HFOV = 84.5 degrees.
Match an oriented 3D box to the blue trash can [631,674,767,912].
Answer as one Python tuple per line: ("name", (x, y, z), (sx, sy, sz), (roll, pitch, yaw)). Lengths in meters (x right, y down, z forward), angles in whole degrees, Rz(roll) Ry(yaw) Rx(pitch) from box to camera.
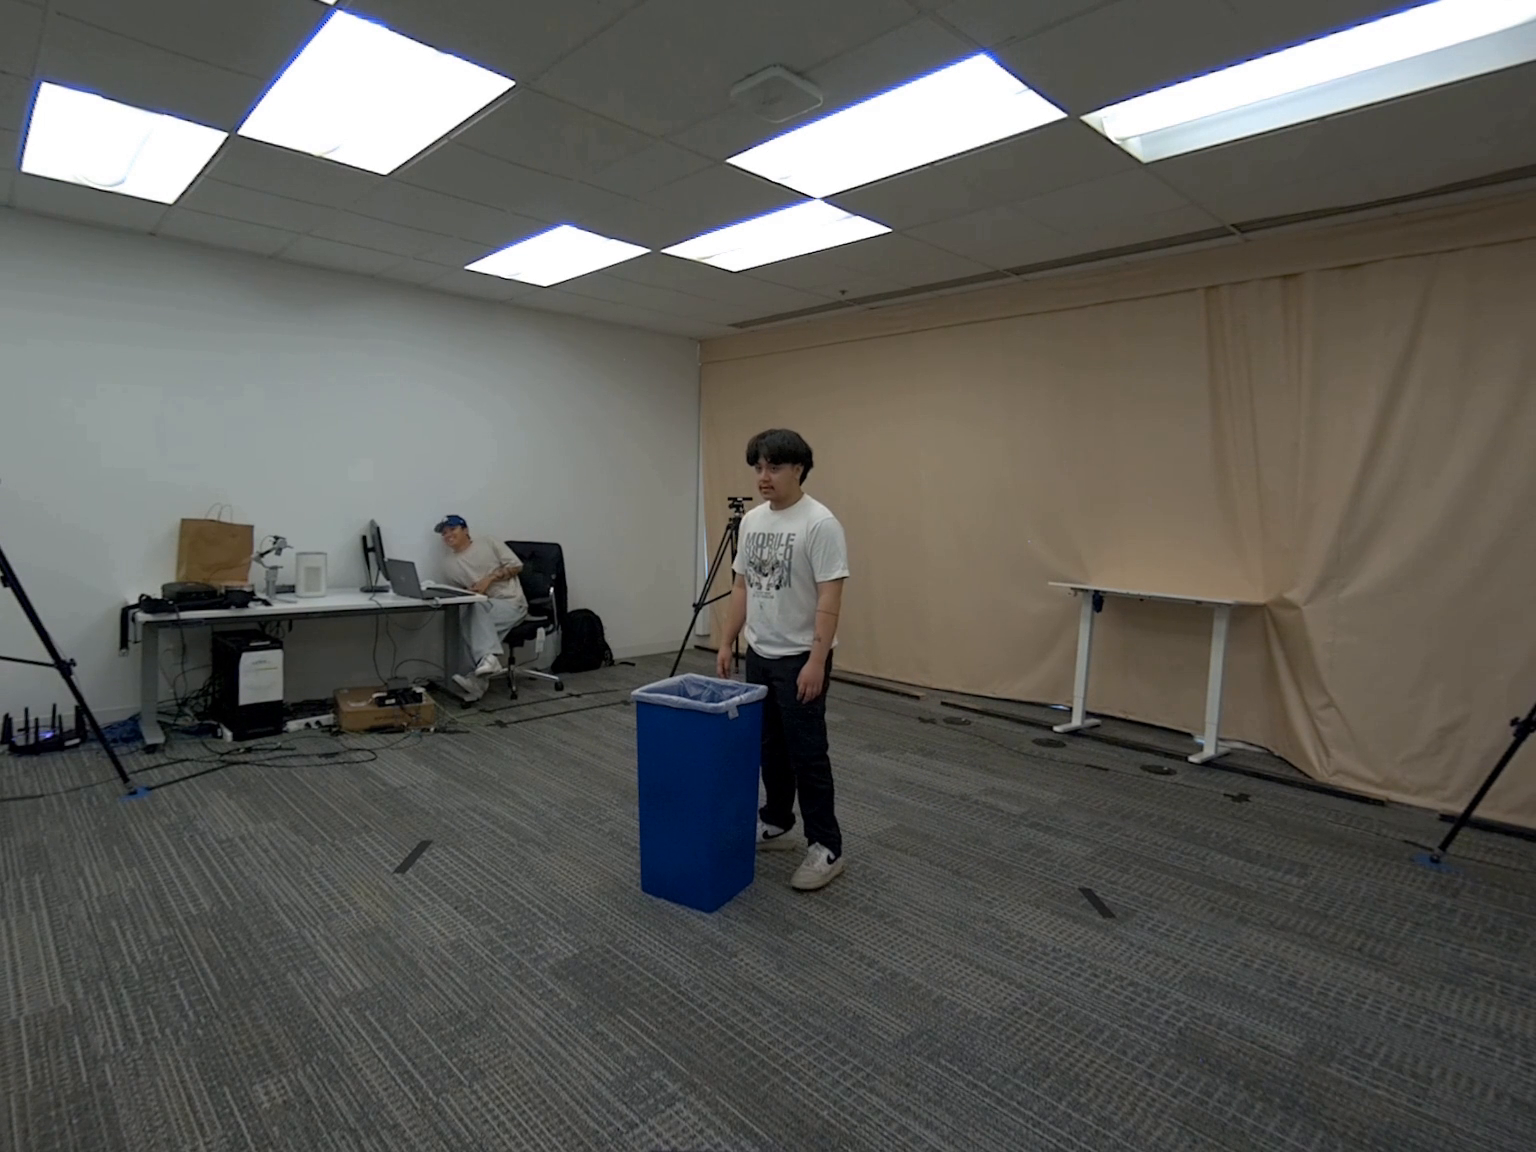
("blue trash can", (-0.258, 0.755, 3.002), (0.382, 0.712, 0.371), (4, 4, 30))
